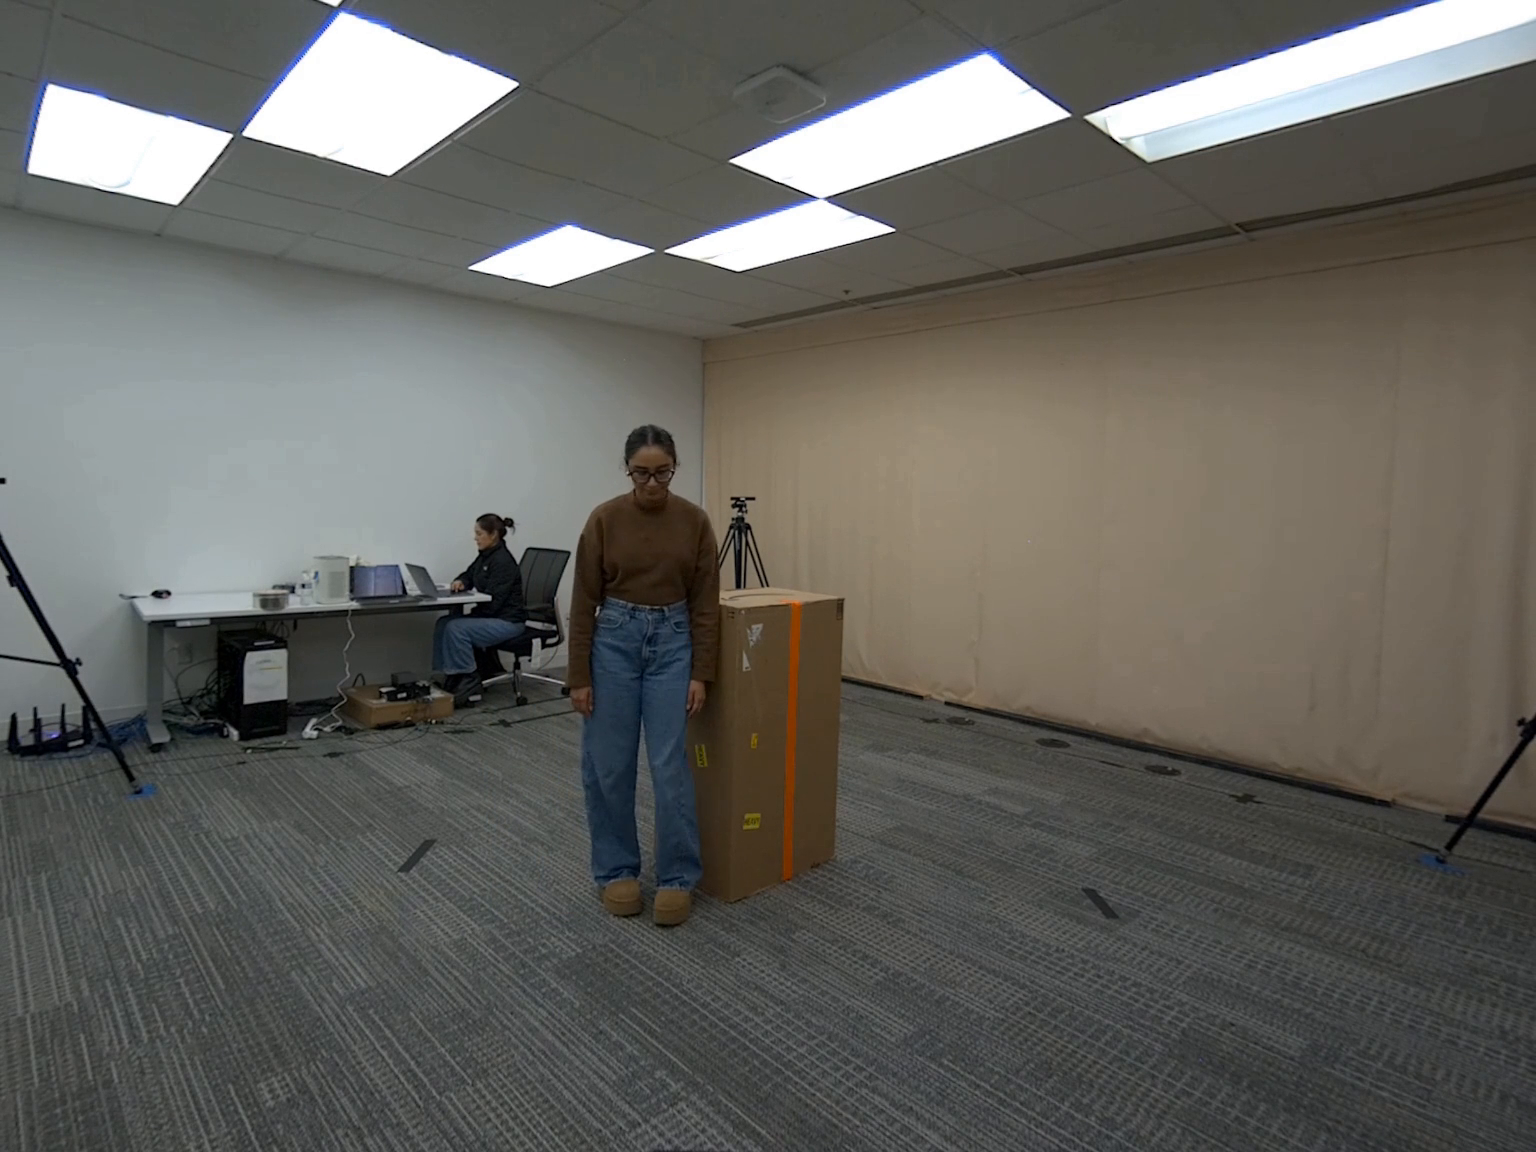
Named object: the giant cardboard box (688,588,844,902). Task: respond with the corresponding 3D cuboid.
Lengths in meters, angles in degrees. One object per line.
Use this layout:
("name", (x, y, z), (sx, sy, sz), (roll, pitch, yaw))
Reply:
("giant cardboard box", (-0.070, 0.592, 3.210), (0.458, 1.025, 0.570), (4, 4, 43))
